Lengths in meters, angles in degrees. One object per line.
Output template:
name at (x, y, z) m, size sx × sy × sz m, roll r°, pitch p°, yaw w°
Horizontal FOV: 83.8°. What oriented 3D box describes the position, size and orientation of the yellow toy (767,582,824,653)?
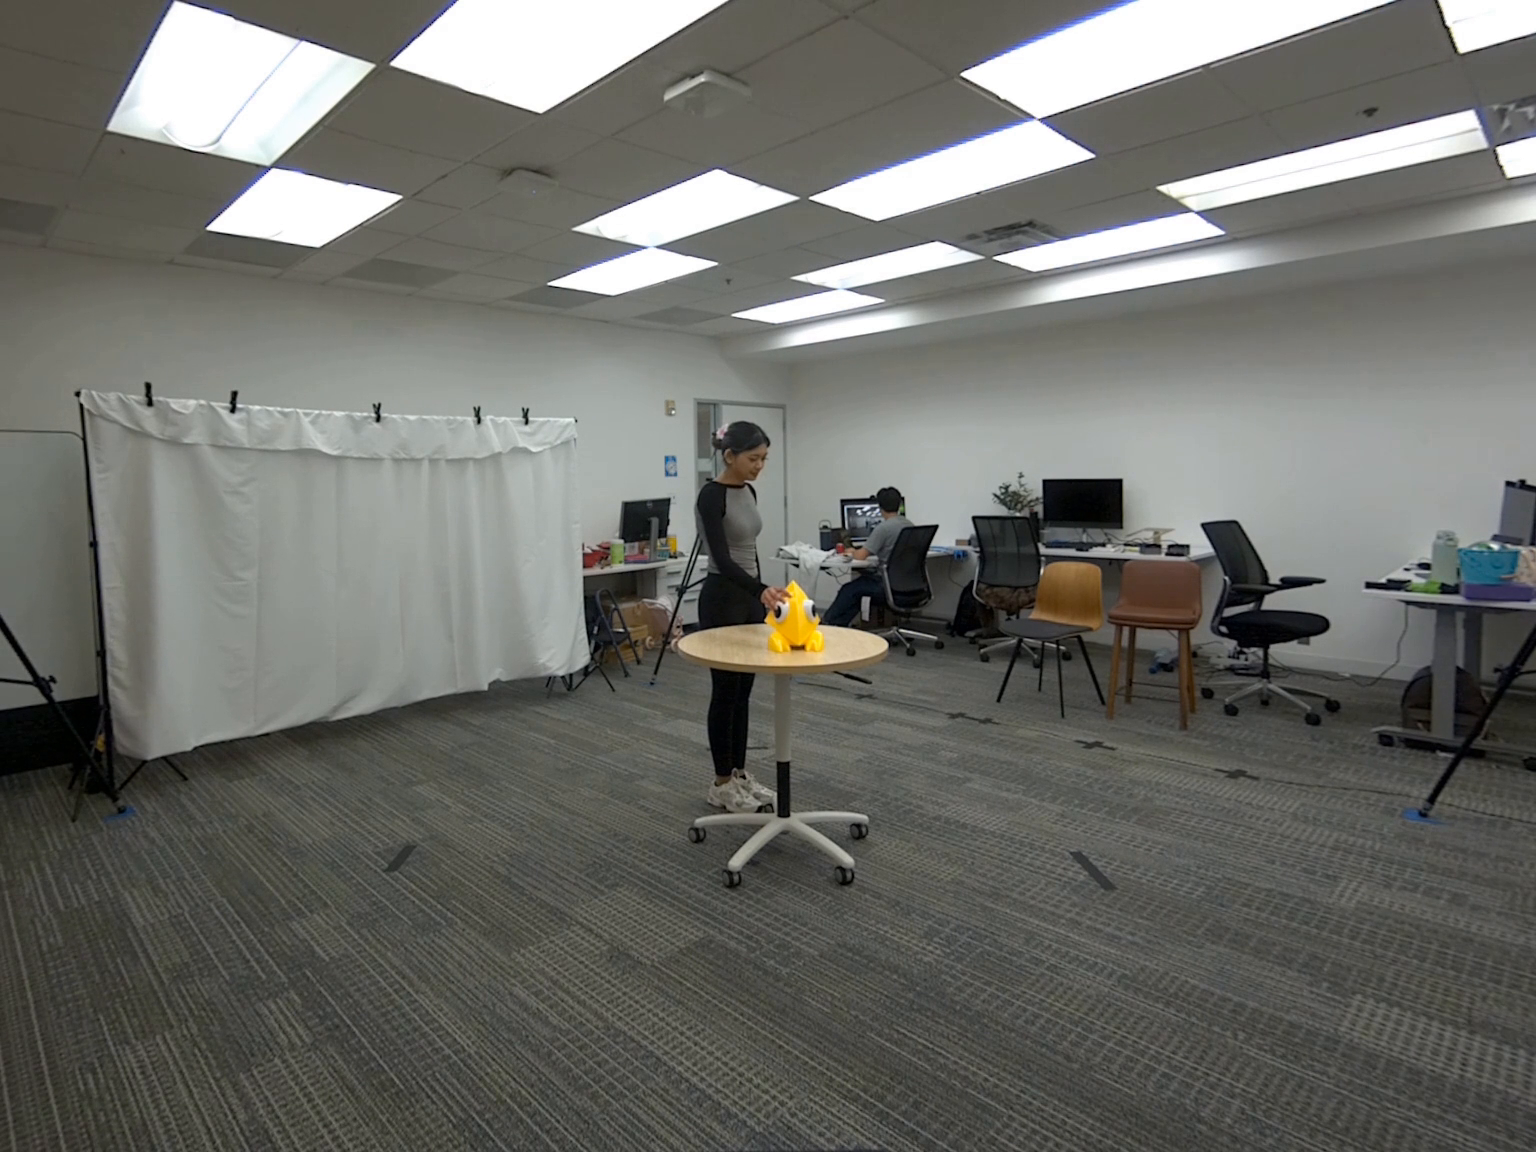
yellow toy at (0.107, 0.140, 3.040) m, size 0.204 × 0.230 × 0.195 m, roll -1°, pitch 5°, yaw -5°
